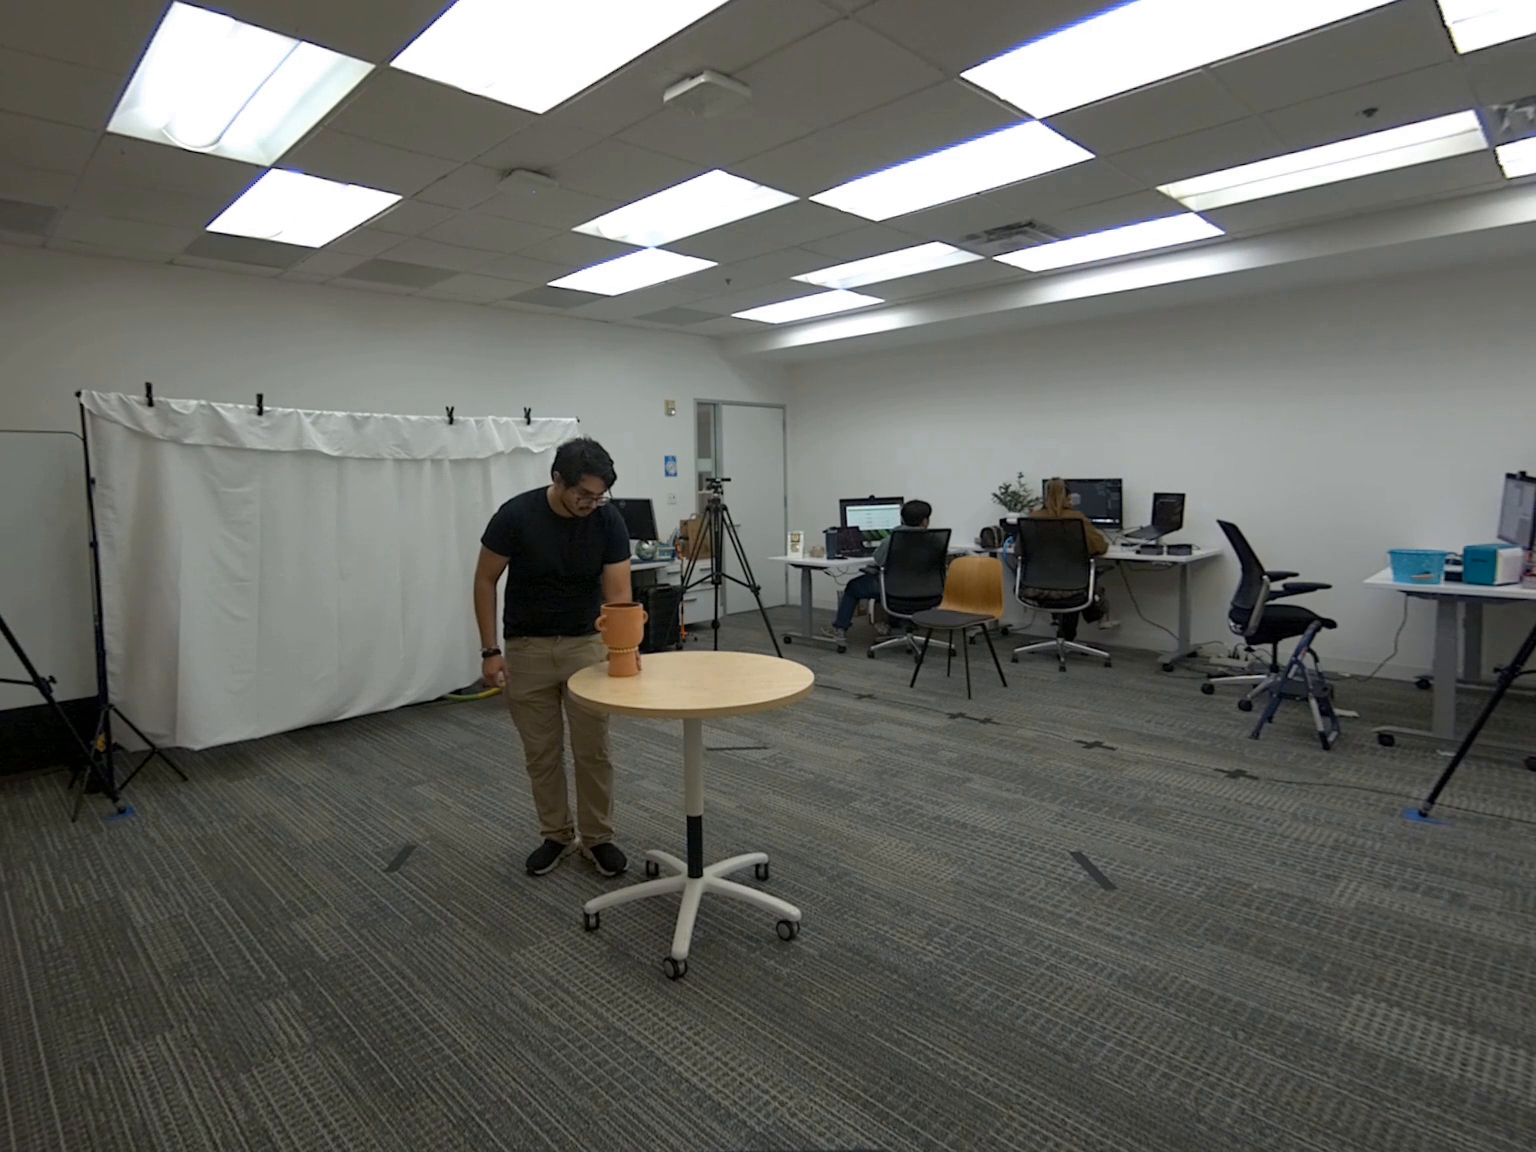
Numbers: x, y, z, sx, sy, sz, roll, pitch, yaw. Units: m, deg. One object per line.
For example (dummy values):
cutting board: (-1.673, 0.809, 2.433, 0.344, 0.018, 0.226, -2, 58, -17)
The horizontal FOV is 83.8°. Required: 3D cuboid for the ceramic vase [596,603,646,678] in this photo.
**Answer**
ceramic vase: (-0.448, 0.198, 2.717, 0.158, 0.219, 0.136, -3, 5, -6)
